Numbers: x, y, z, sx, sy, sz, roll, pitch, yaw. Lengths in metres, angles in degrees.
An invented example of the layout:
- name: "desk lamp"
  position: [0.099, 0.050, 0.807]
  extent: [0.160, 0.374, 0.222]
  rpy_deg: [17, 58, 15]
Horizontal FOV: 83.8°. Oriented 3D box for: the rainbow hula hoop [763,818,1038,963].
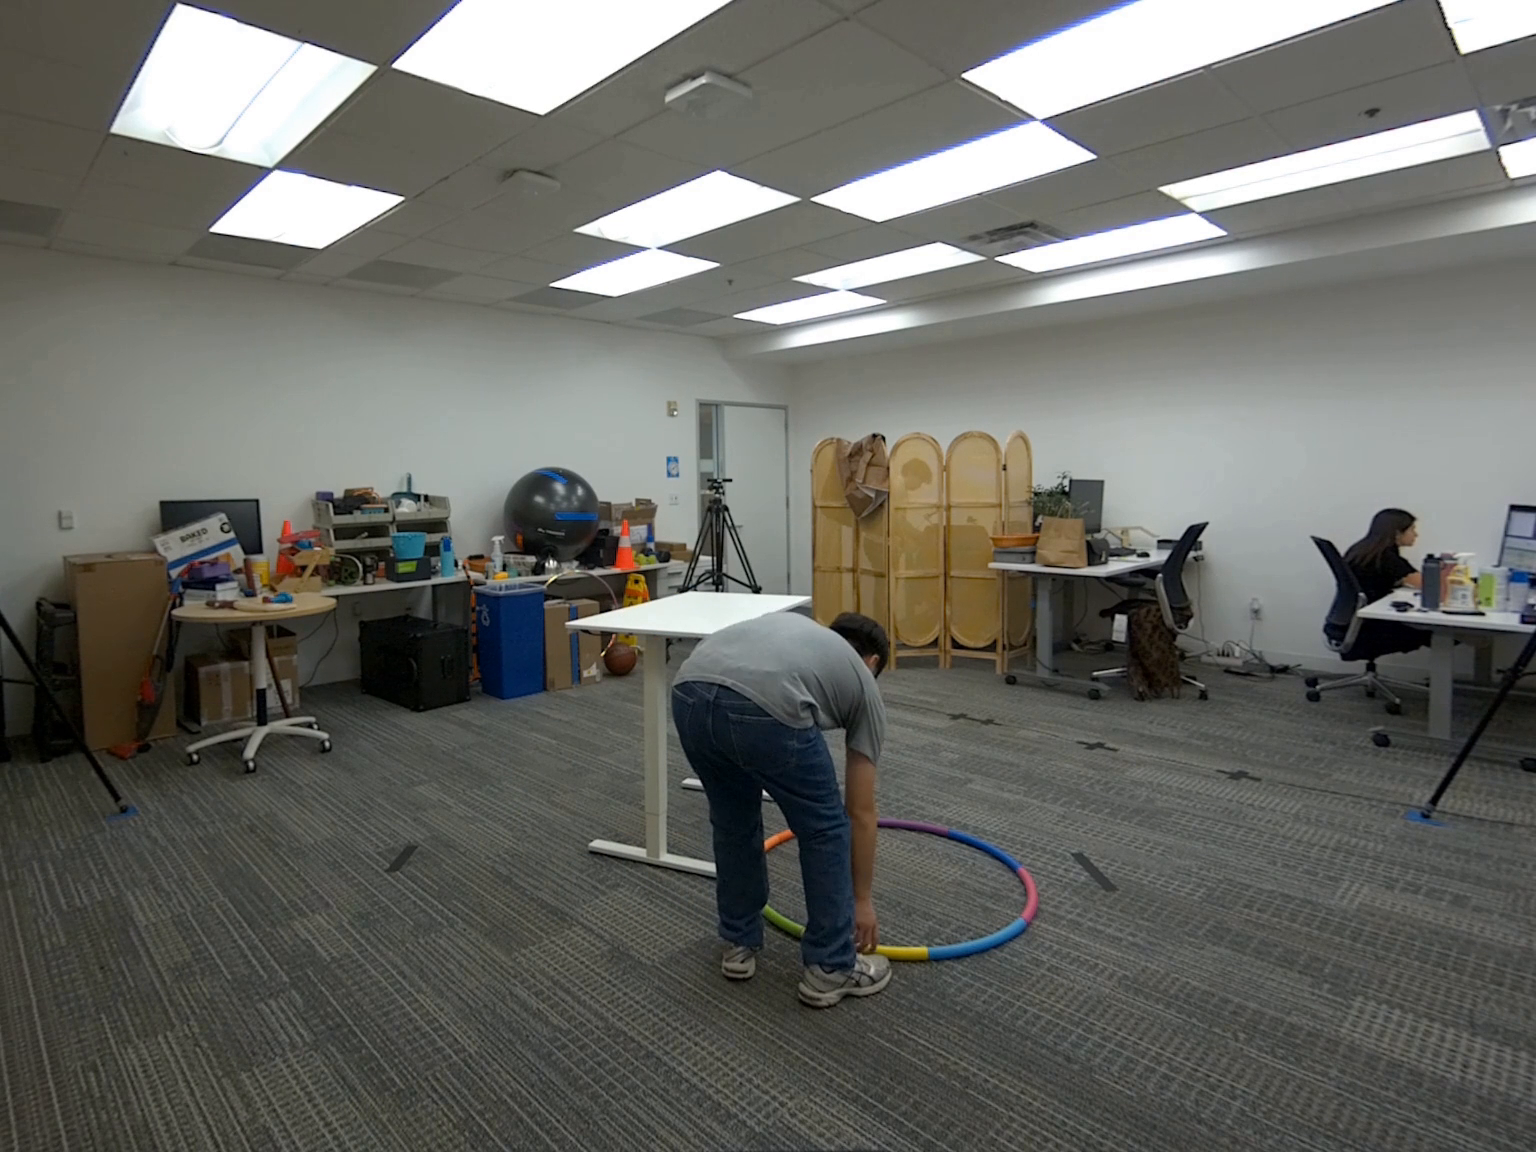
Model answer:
- name: "rainbow hula hoop"
  position: [0.394, 1.027, 2.943]
  extent: [0.978, 0.035, 0.984]
  rpy_deg: [-1, 6, -2]
